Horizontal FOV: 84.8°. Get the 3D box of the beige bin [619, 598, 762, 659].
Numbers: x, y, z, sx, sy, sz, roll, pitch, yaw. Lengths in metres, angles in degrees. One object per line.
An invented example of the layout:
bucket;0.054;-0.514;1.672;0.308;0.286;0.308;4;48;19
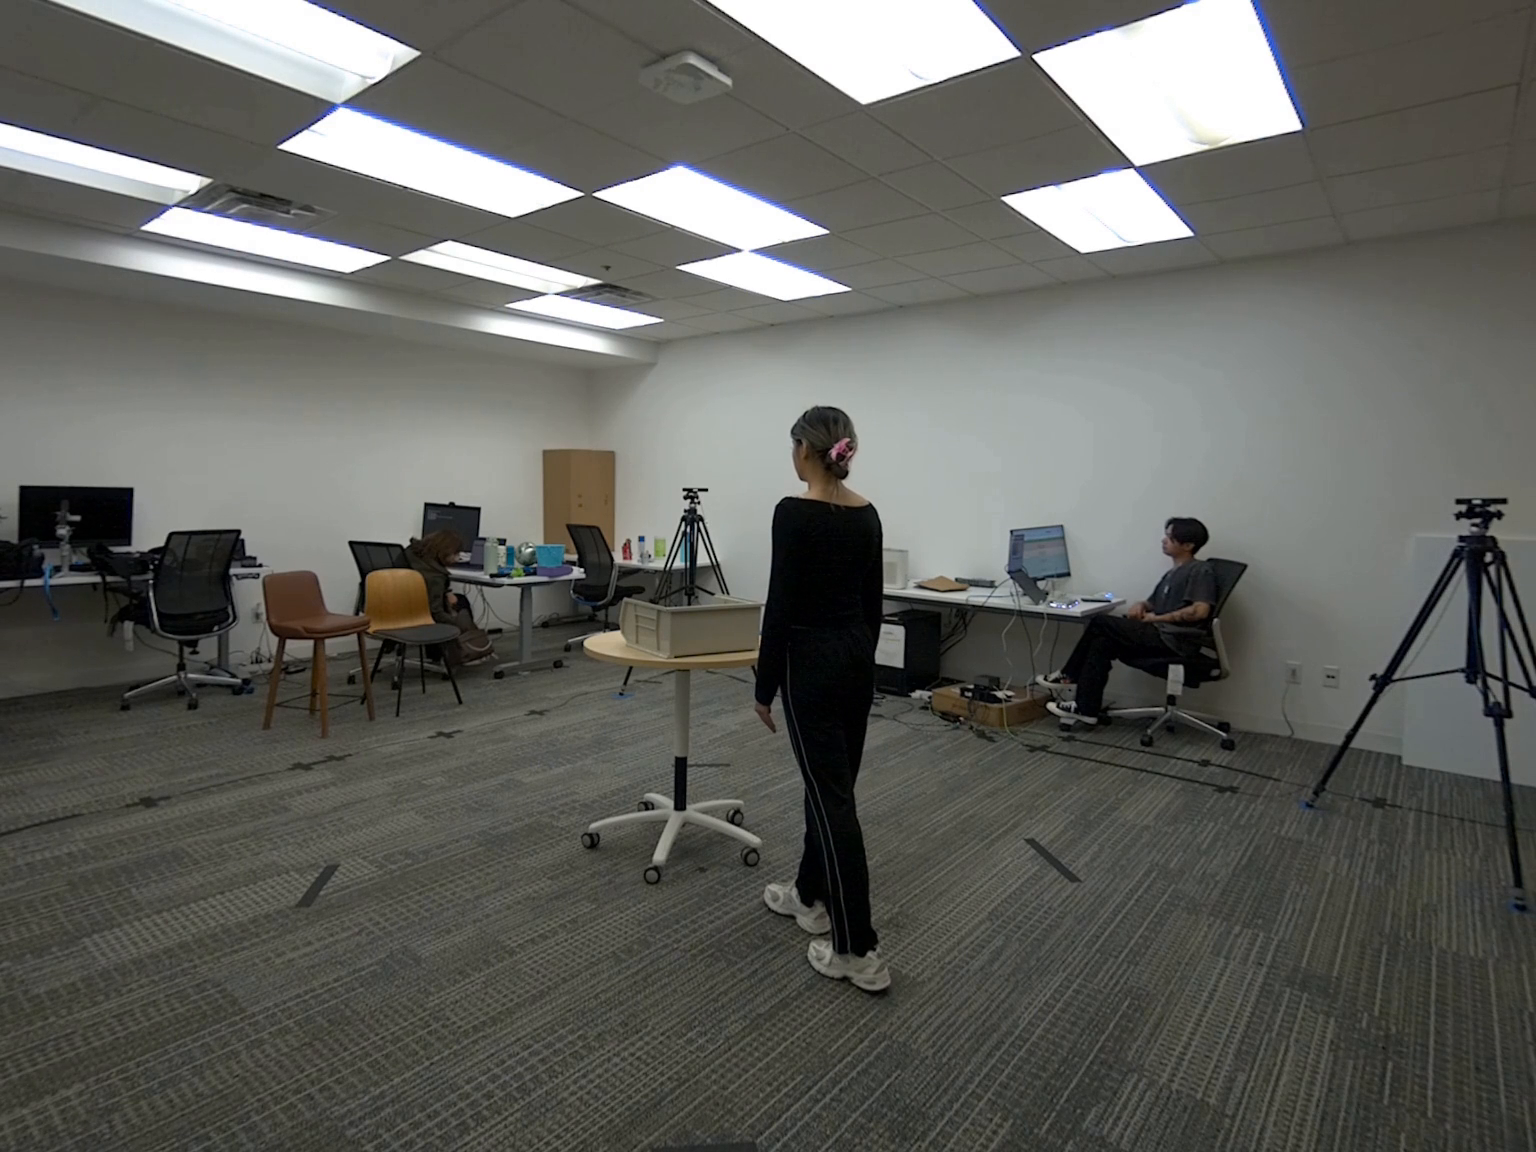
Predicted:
beige bin;-0.299;0.175;3.197;0.410;0.188;0.390;-2;7;-35
